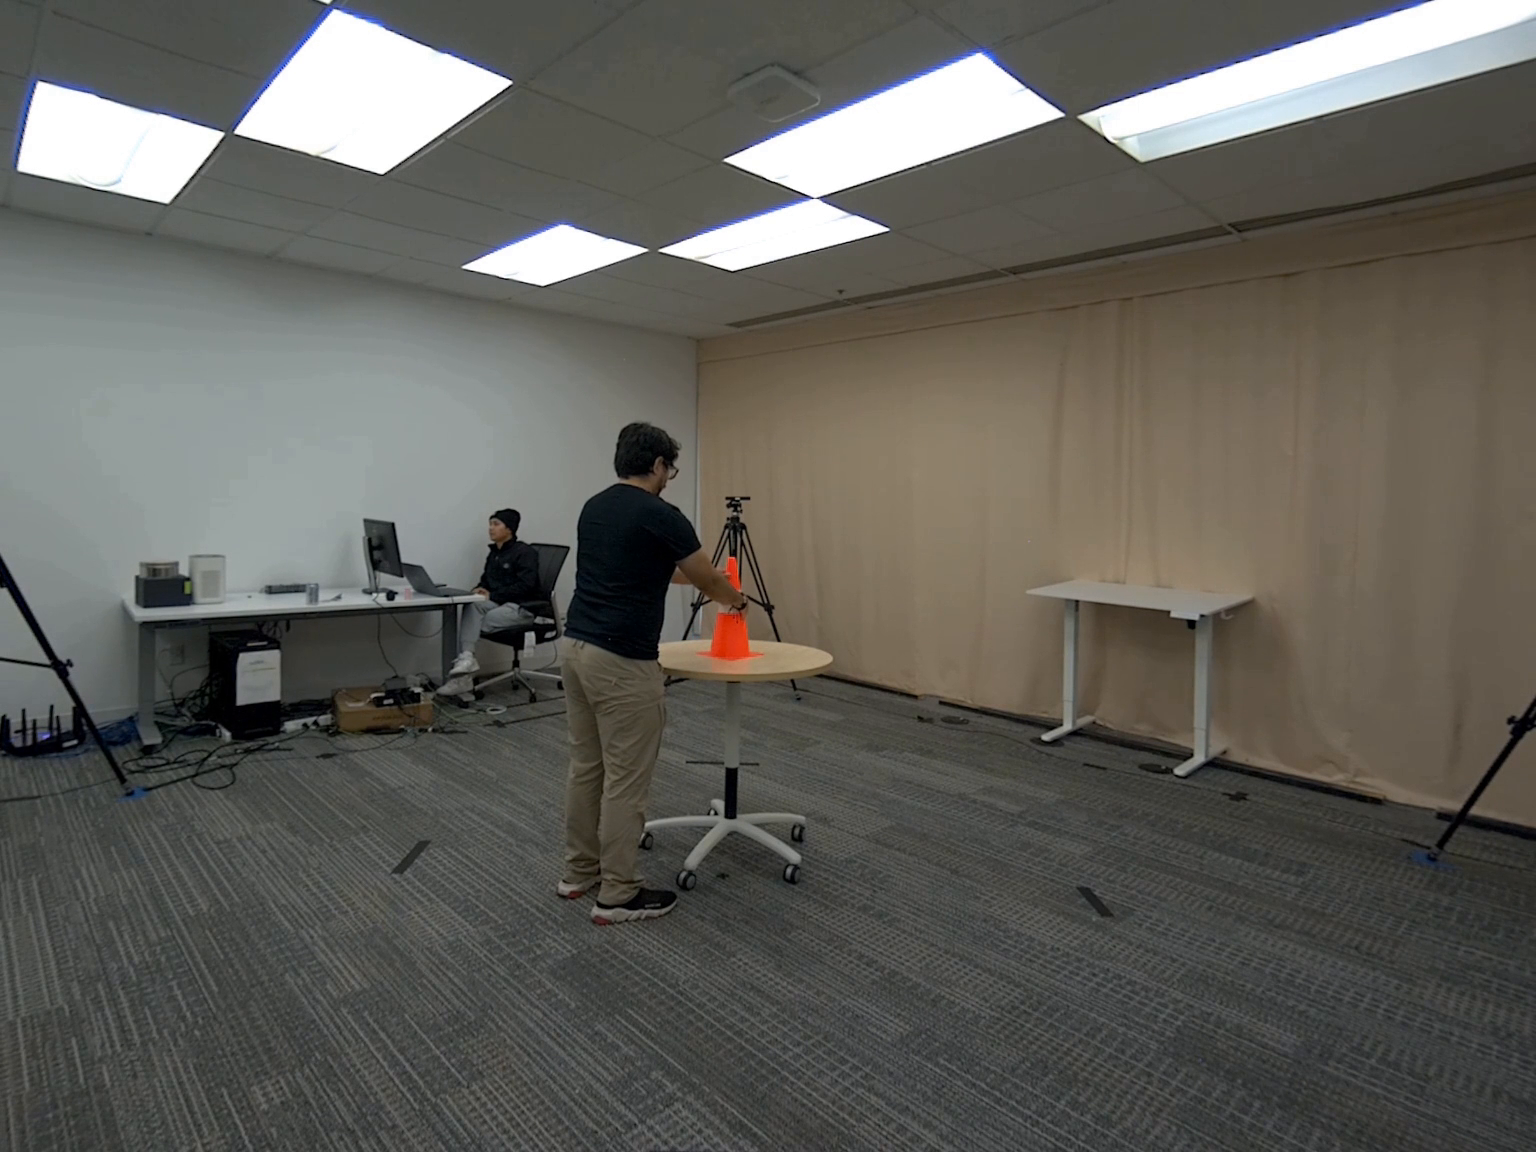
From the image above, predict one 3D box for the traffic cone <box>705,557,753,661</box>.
[{"bbox_3d":[-0.148,0.121,3.283,0.208,0.383,0.200,3,2,37],"label":"traffic cone"}]
